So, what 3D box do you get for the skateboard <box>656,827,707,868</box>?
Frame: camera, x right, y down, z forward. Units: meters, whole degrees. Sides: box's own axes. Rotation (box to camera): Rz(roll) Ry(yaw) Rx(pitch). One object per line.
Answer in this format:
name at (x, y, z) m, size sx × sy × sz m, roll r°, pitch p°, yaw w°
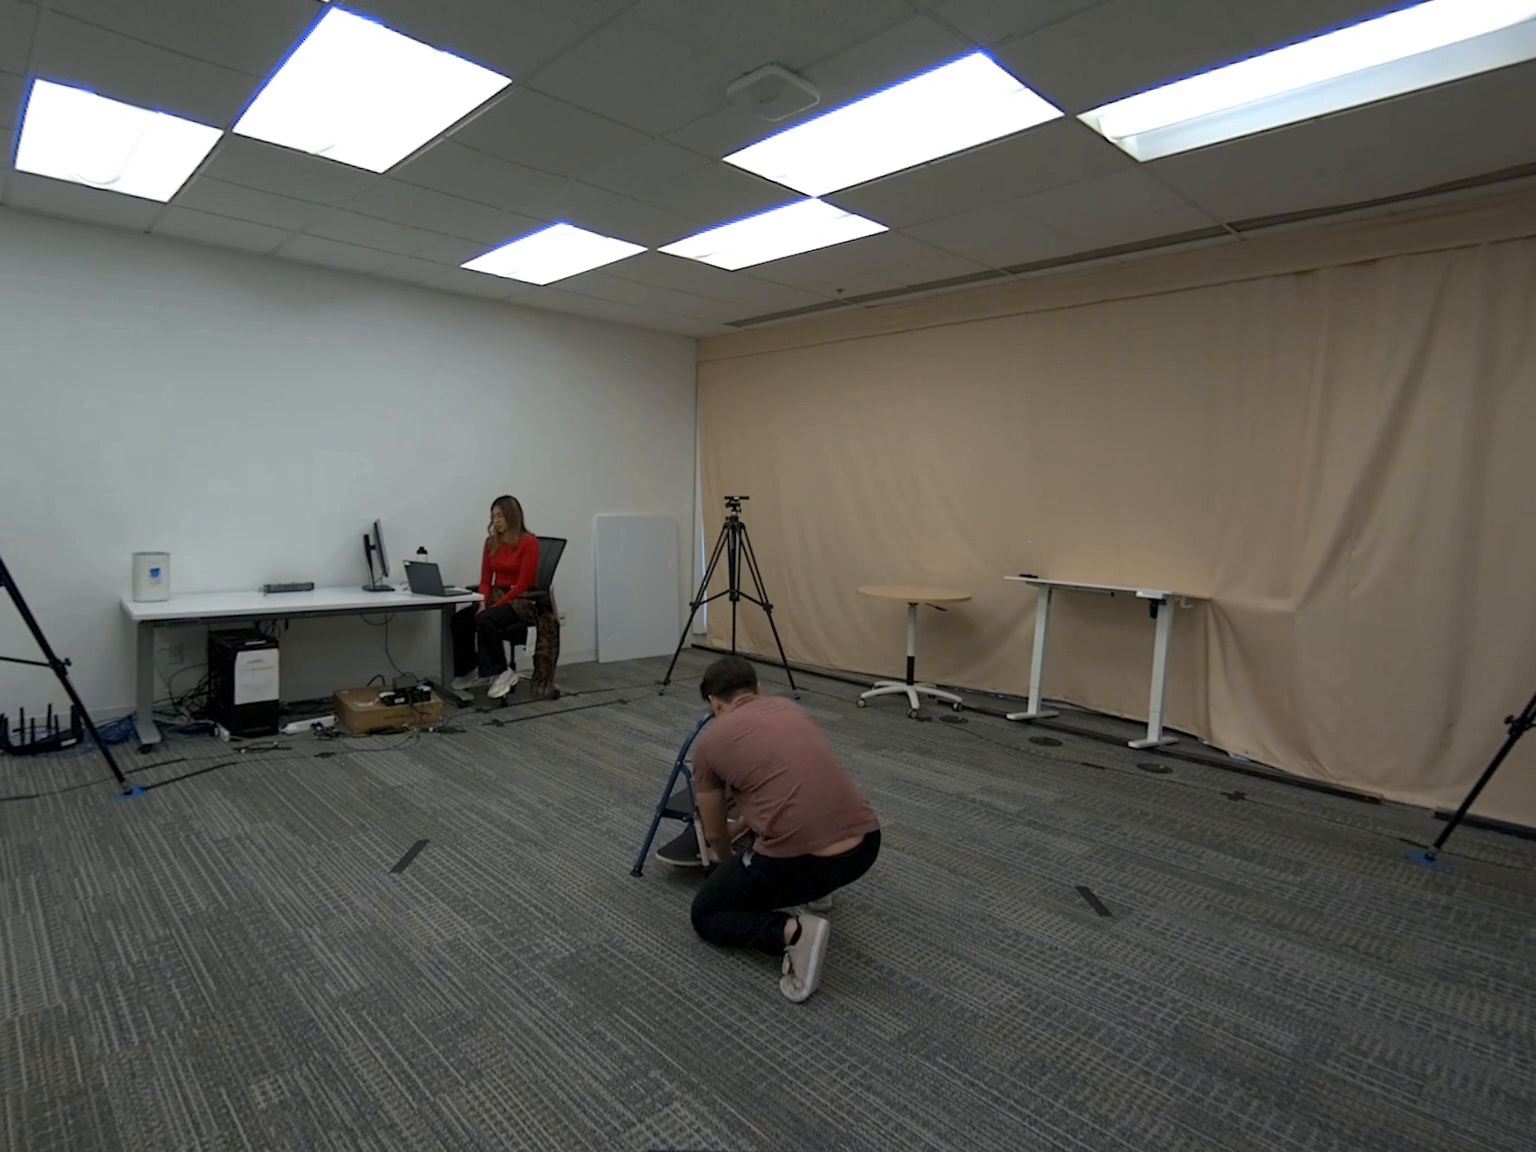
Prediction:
skateboard at (-0.190, 1.026, 3.324) m, size 0.197 × 0.110 × 0.773 m, roll 4°, pitch 5°, yaw 23°
